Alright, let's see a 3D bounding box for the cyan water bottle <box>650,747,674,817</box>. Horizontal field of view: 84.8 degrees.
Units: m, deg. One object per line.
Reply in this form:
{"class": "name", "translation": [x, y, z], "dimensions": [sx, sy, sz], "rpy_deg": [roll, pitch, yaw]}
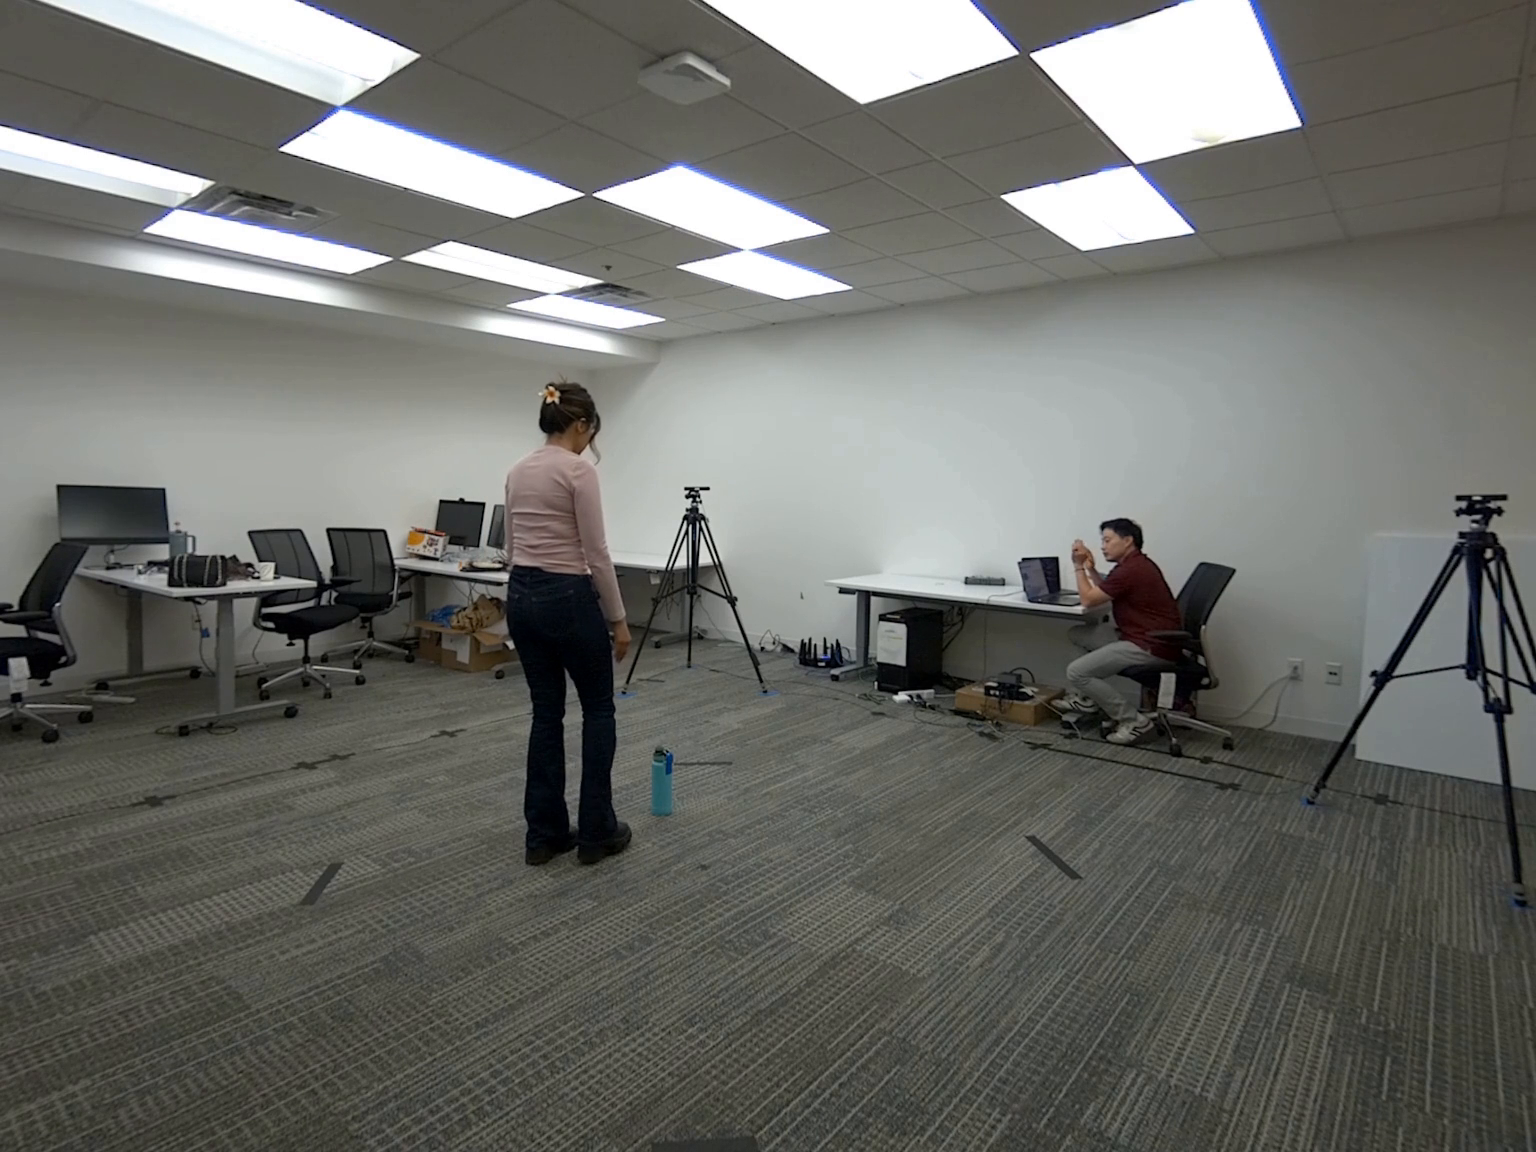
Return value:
{"class": "cyan water bottle", "translation": [-0.463, 0.870, 3.645], "dimensions": [0.092, 0.282, 0.093], "rpy_deg": [1, 4, -2]}
